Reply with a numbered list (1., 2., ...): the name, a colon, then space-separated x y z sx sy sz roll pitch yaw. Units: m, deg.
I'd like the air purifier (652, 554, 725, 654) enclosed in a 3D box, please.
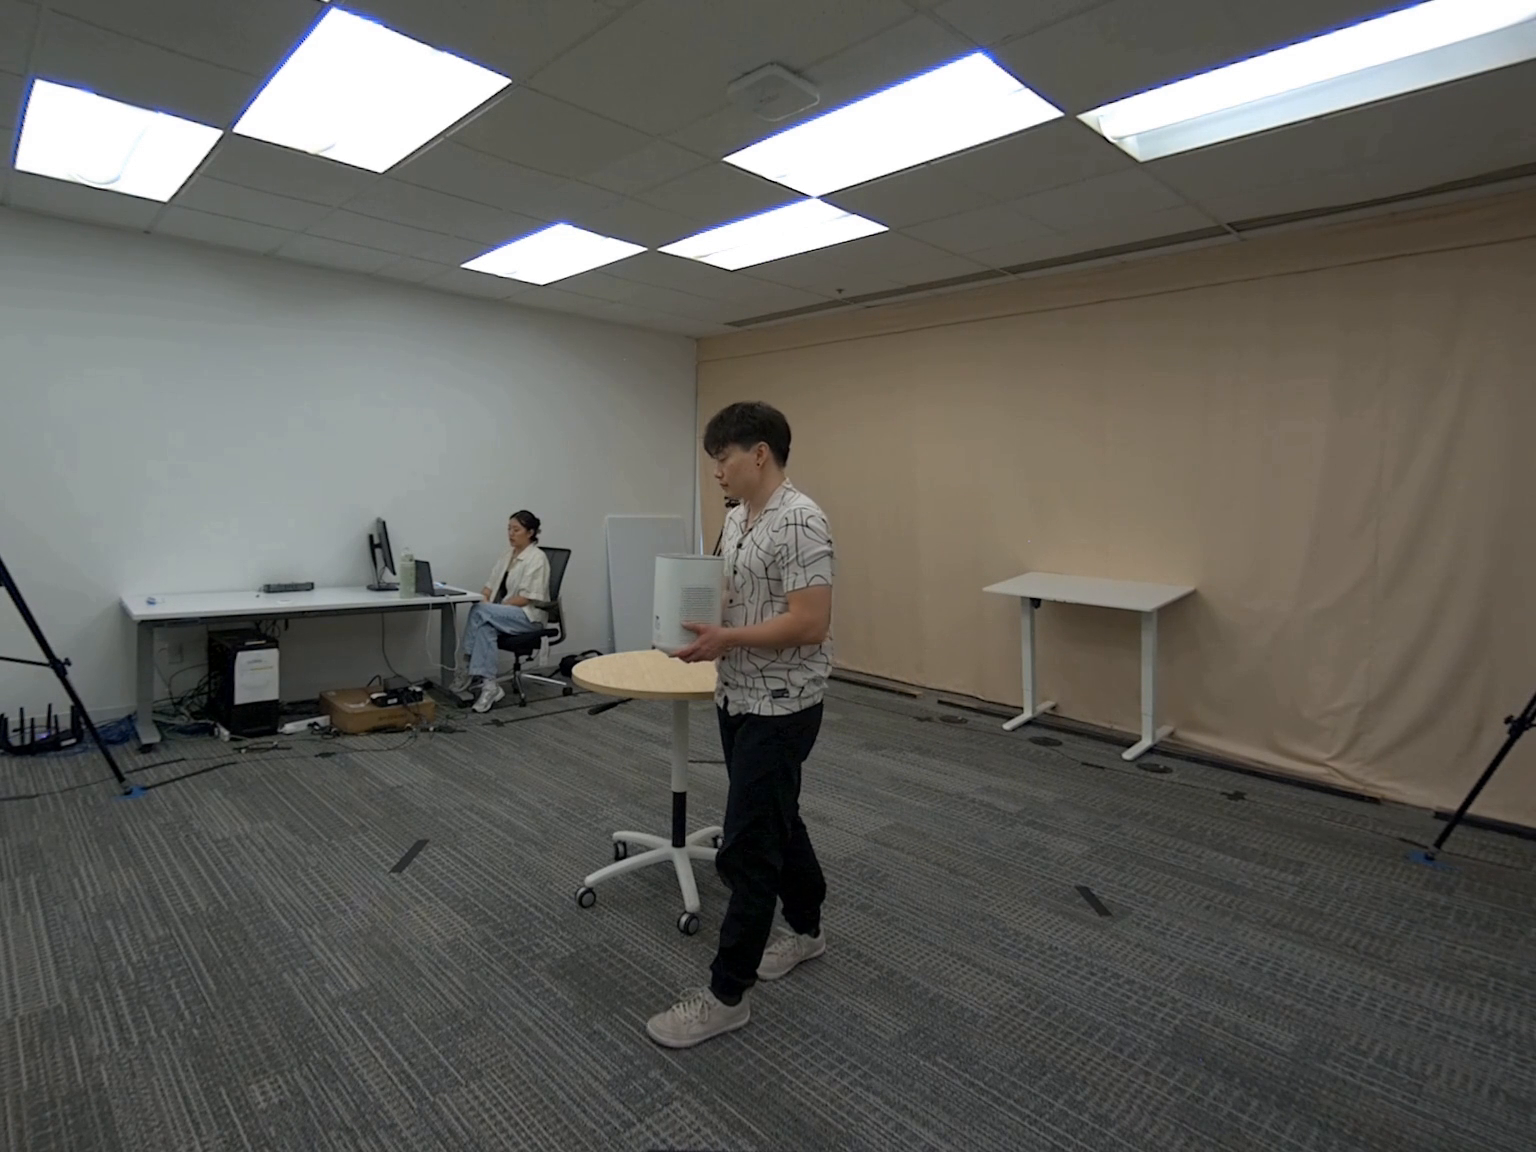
1. air purifier: -0.216 0.078 2.301 0.169 0.265 0.174 3 2 -21
